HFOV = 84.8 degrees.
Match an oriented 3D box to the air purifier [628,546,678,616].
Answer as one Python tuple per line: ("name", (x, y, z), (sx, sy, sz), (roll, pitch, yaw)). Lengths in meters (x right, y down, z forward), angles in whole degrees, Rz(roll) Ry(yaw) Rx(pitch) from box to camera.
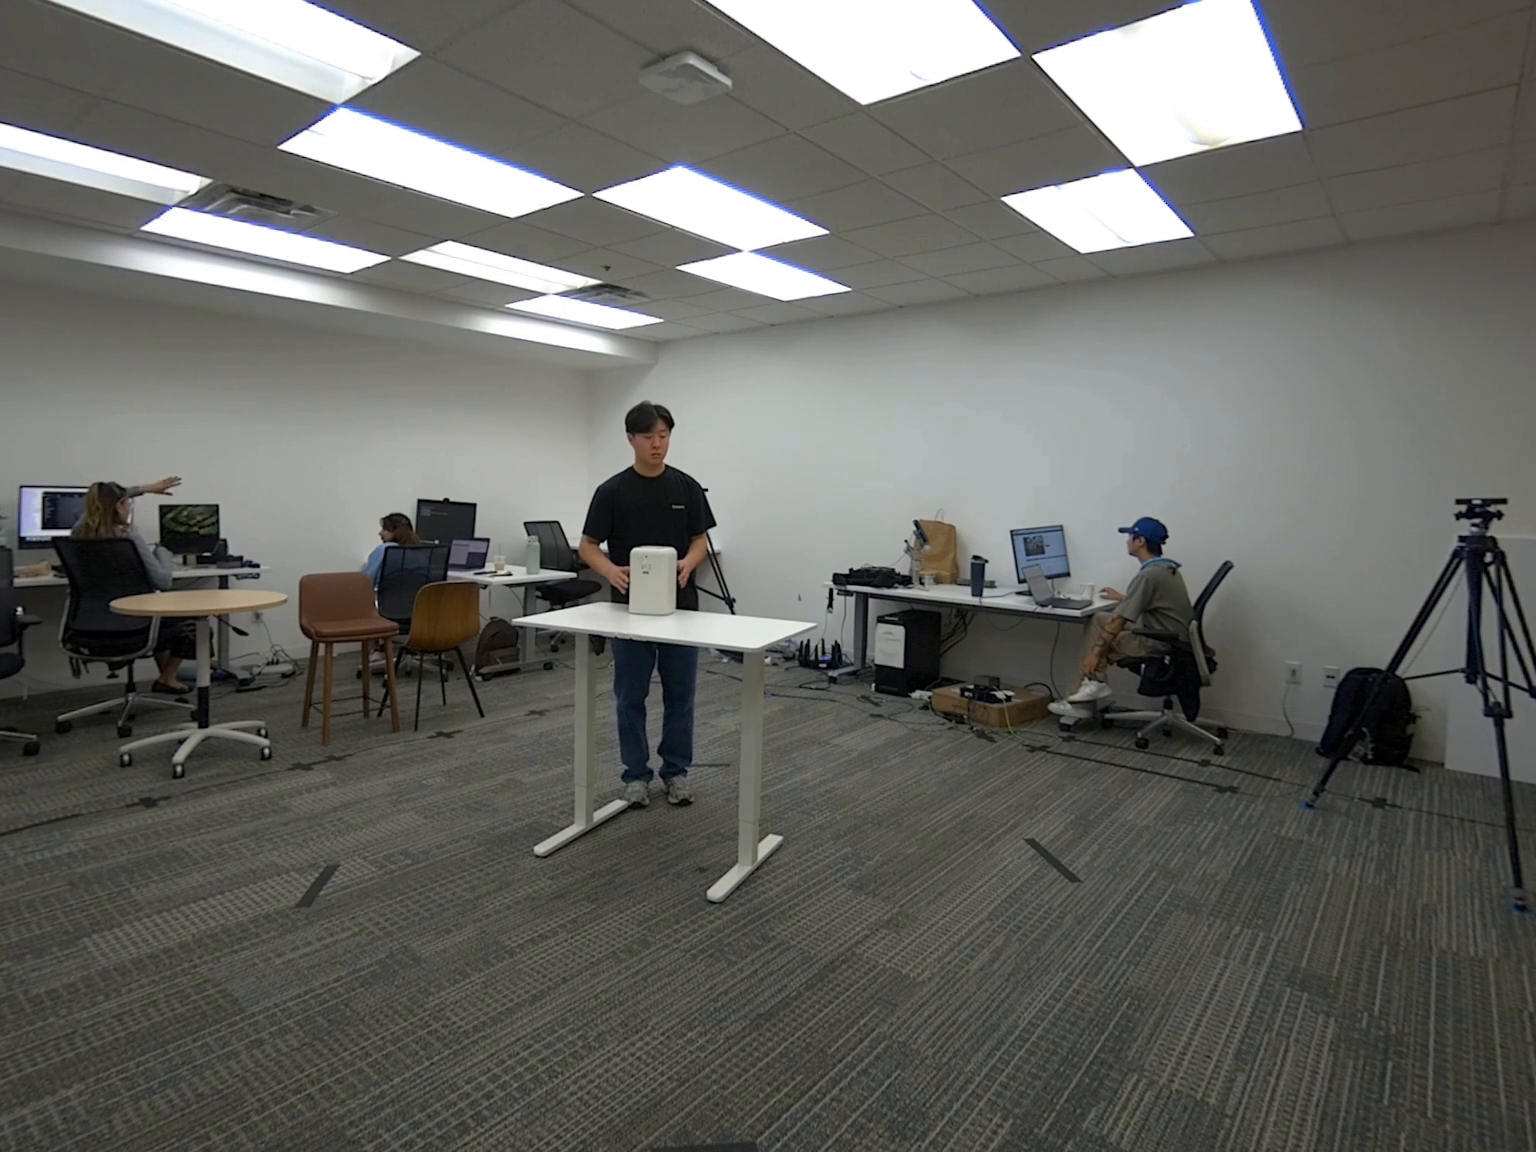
("air purifier", (-0.486, 0.011, 3.454), (0.173, 0.264, 0.170), (3, 4, 11))
